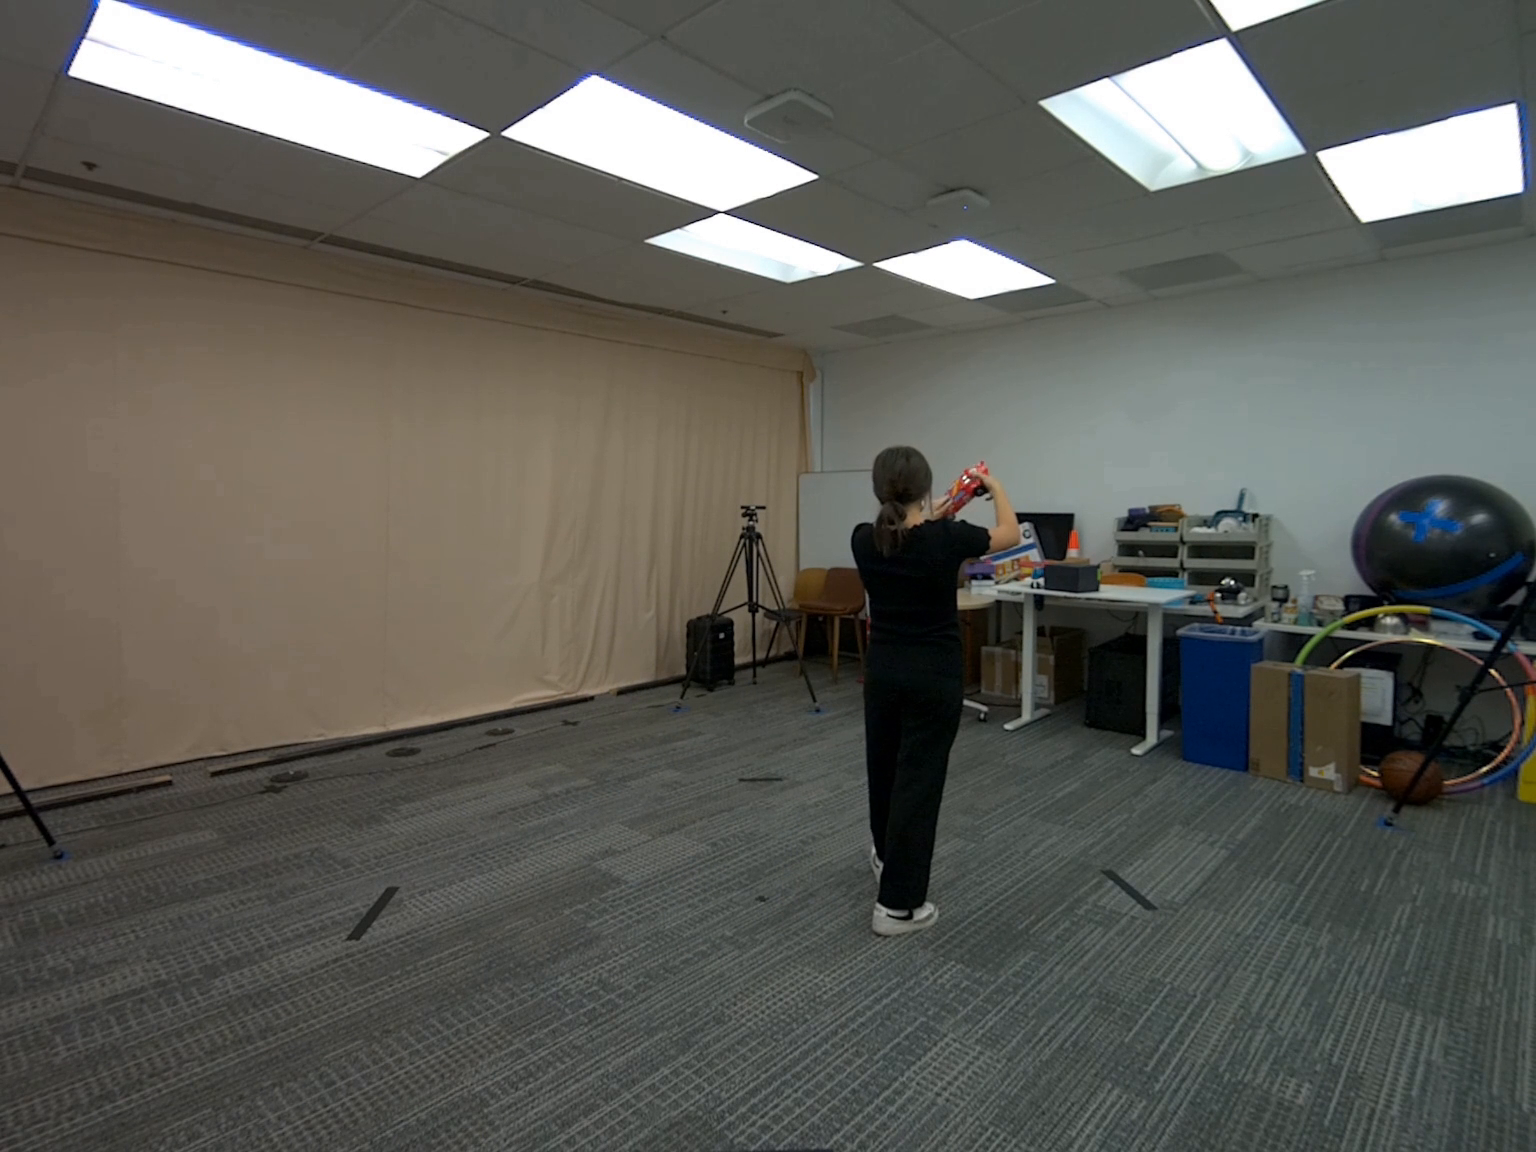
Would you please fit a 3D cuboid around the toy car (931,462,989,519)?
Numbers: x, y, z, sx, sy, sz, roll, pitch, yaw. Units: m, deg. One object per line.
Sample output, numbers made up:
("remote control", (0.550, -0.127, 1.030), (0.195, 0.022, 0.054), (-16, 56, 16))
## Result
("toy car", (0.728, -0.315, 3.106), (0.081, 0.255, 0.133), (22, 32, -20))
